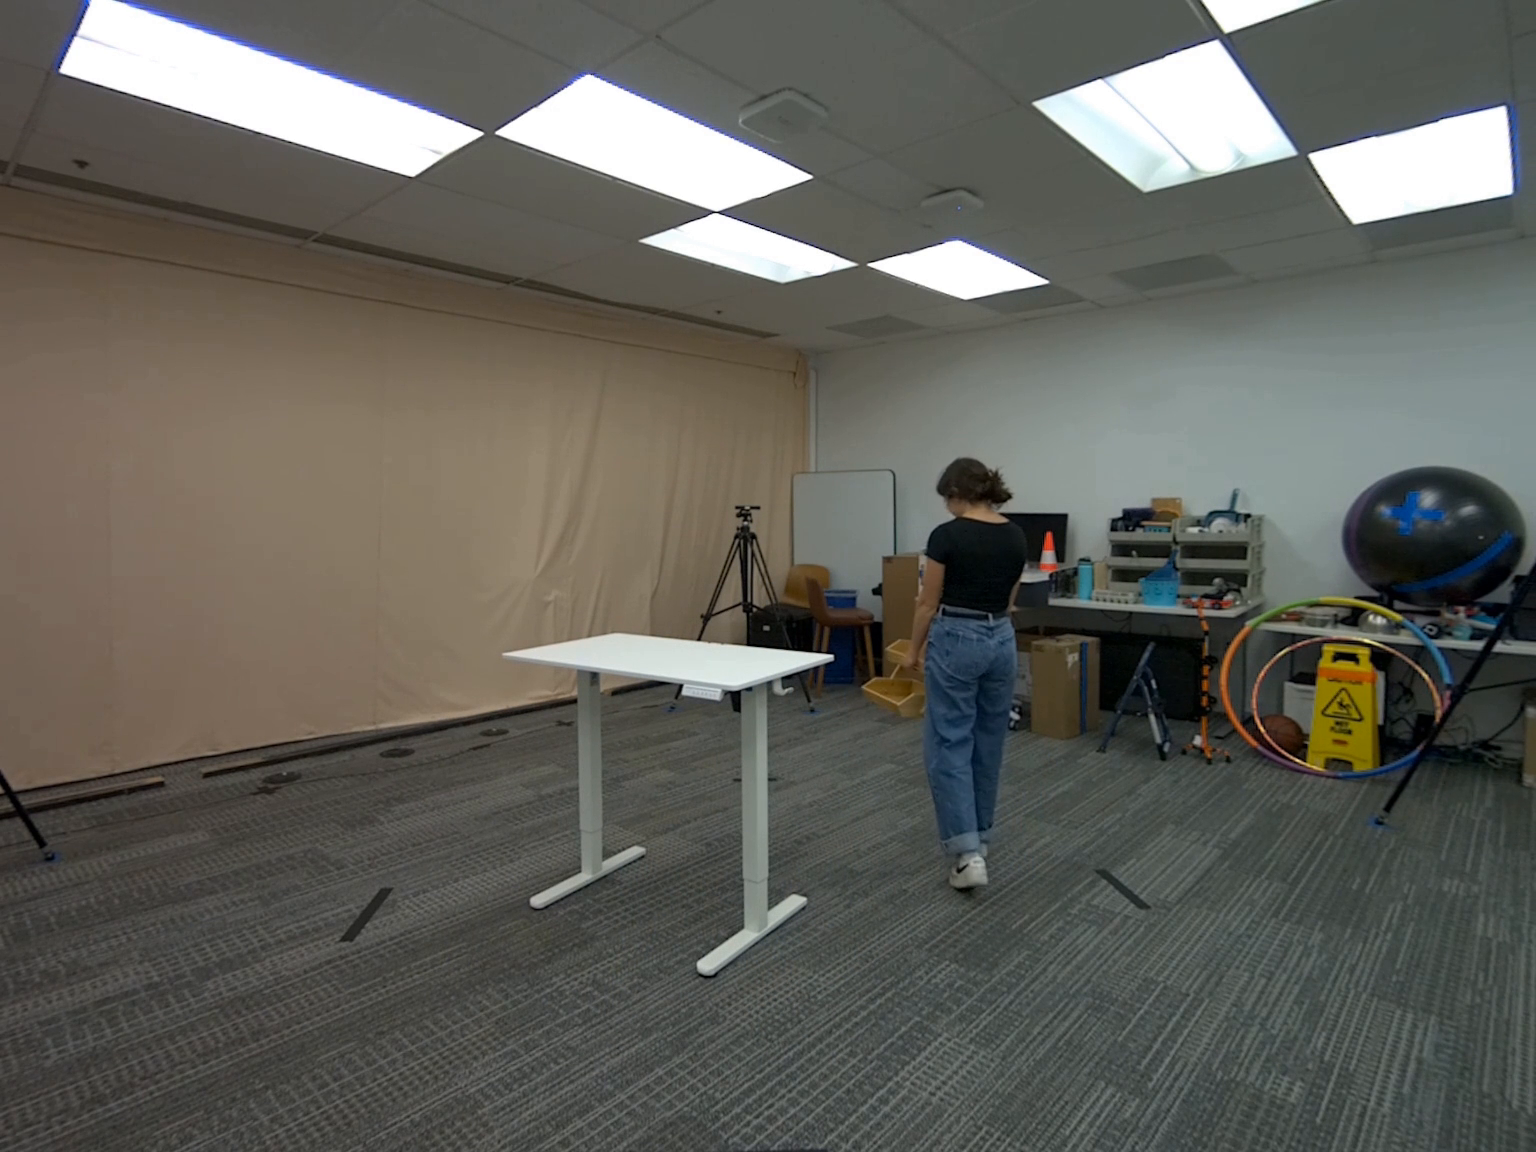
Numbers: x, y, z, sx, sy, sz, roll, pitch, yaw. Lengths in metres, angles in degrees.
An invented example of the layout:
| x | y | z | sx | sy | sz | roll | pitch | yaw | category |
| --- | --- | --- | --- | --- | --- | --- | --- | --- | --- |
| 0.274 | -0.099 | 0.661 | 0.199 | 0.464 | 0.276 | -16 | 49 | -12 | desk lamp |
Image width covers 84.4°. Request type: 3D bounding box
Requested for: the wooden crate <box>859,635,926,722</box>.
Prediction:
| x | y | z | sx | sy | sz | roll | pitch | yaw | category |
| --- | --- | --- | --- | --- | --- | --- | --- | --- | --- |
| 0.600 | 0.415 | 3.472 | 0.296 | 0.273 | 0.332 | 6 | 4 | -20 | wooden crate |
